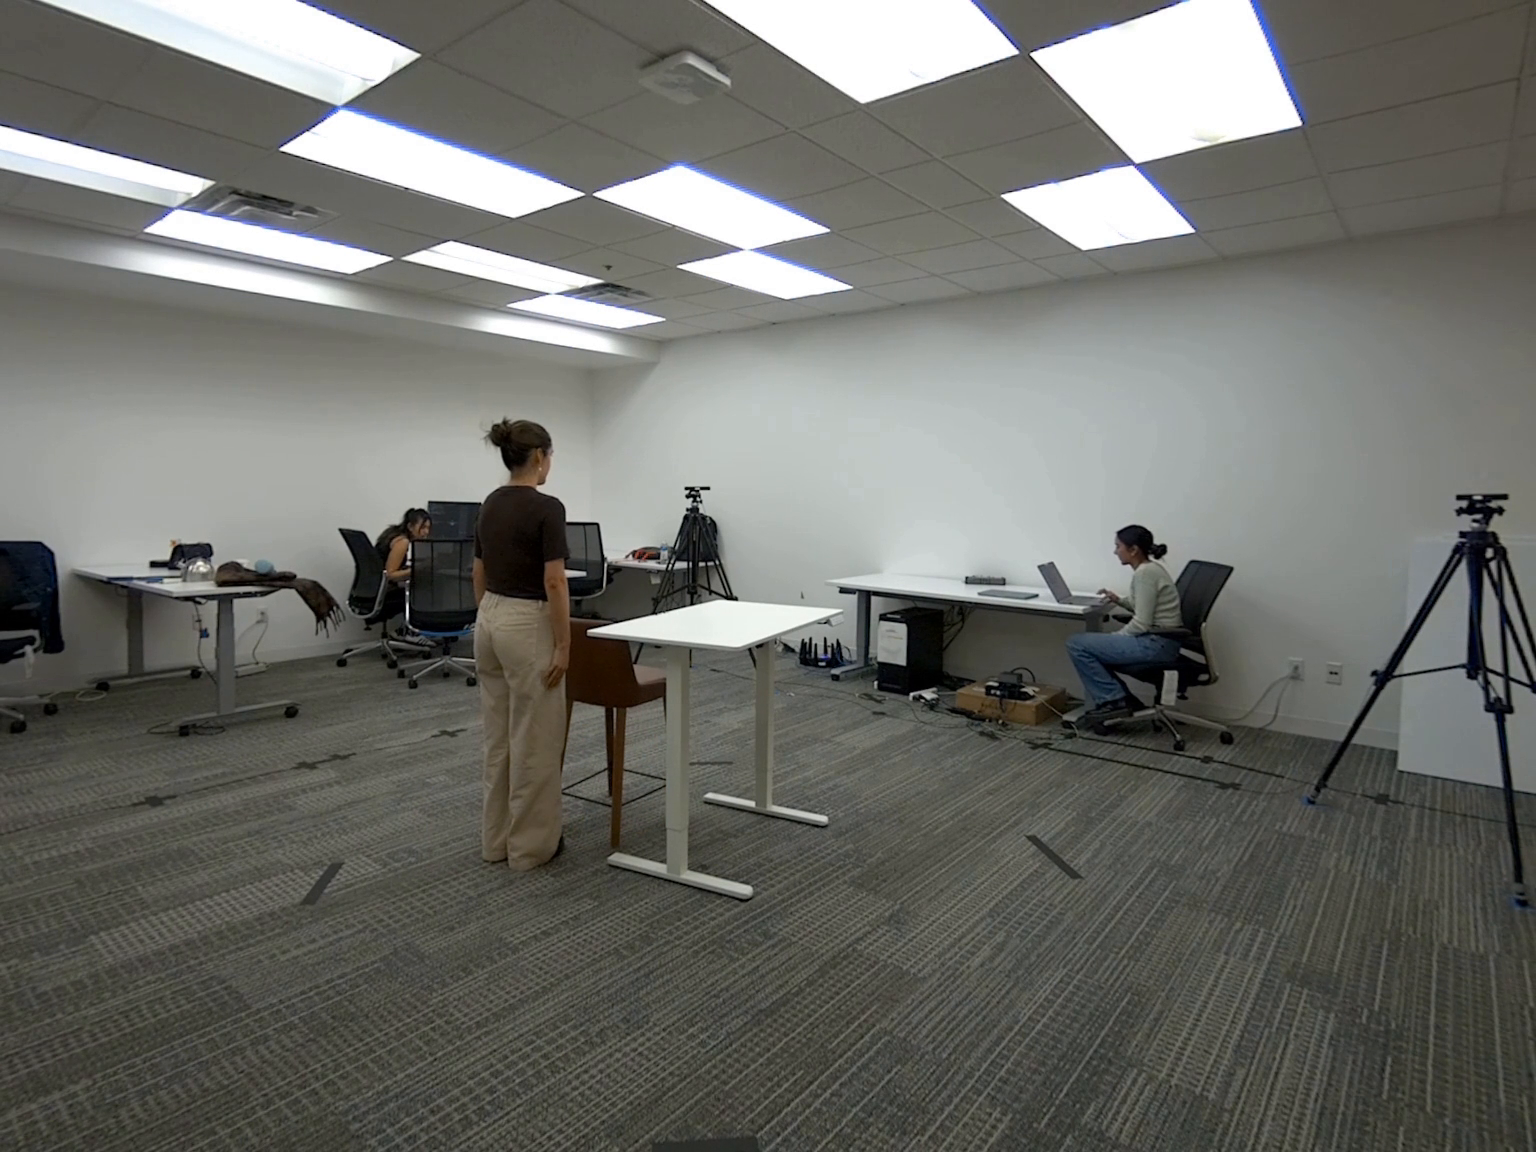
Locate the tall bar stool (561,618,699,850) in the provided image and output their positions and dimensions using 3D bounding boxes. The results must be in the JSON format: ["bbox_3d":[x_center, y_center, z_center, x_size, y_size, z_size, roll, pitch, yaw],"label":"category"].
[{"bbox_3d":[-0.655,0.585,3.526,0.470,0.886,0.456,2,5,31],"label":"tall bar stool"}]
